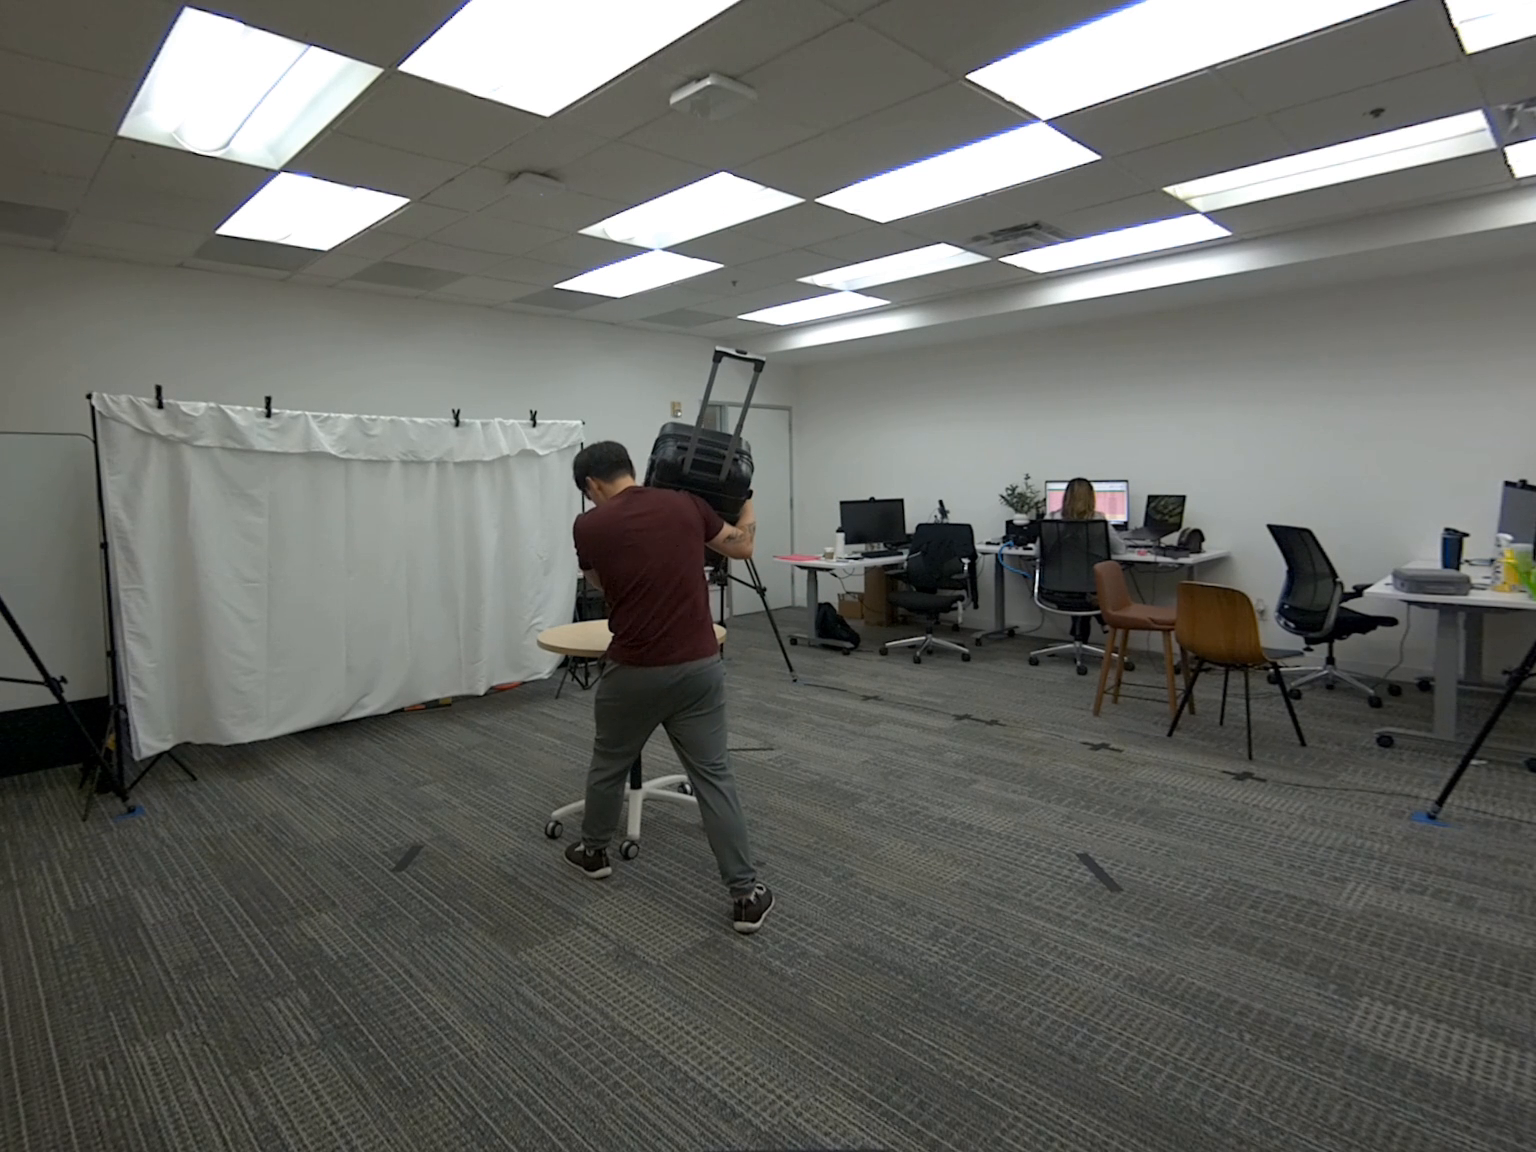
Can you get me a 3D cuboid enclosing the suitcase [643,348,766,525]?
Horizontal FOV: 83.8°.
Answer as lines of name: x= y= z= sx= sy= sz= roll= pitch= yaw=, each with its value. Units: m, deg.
suitcase: x=-0.219 y=-0.422 z=2.991 sx=0.380 sy=0.962 sz=0.264 roll=12 pitch=42 yaw=-9
